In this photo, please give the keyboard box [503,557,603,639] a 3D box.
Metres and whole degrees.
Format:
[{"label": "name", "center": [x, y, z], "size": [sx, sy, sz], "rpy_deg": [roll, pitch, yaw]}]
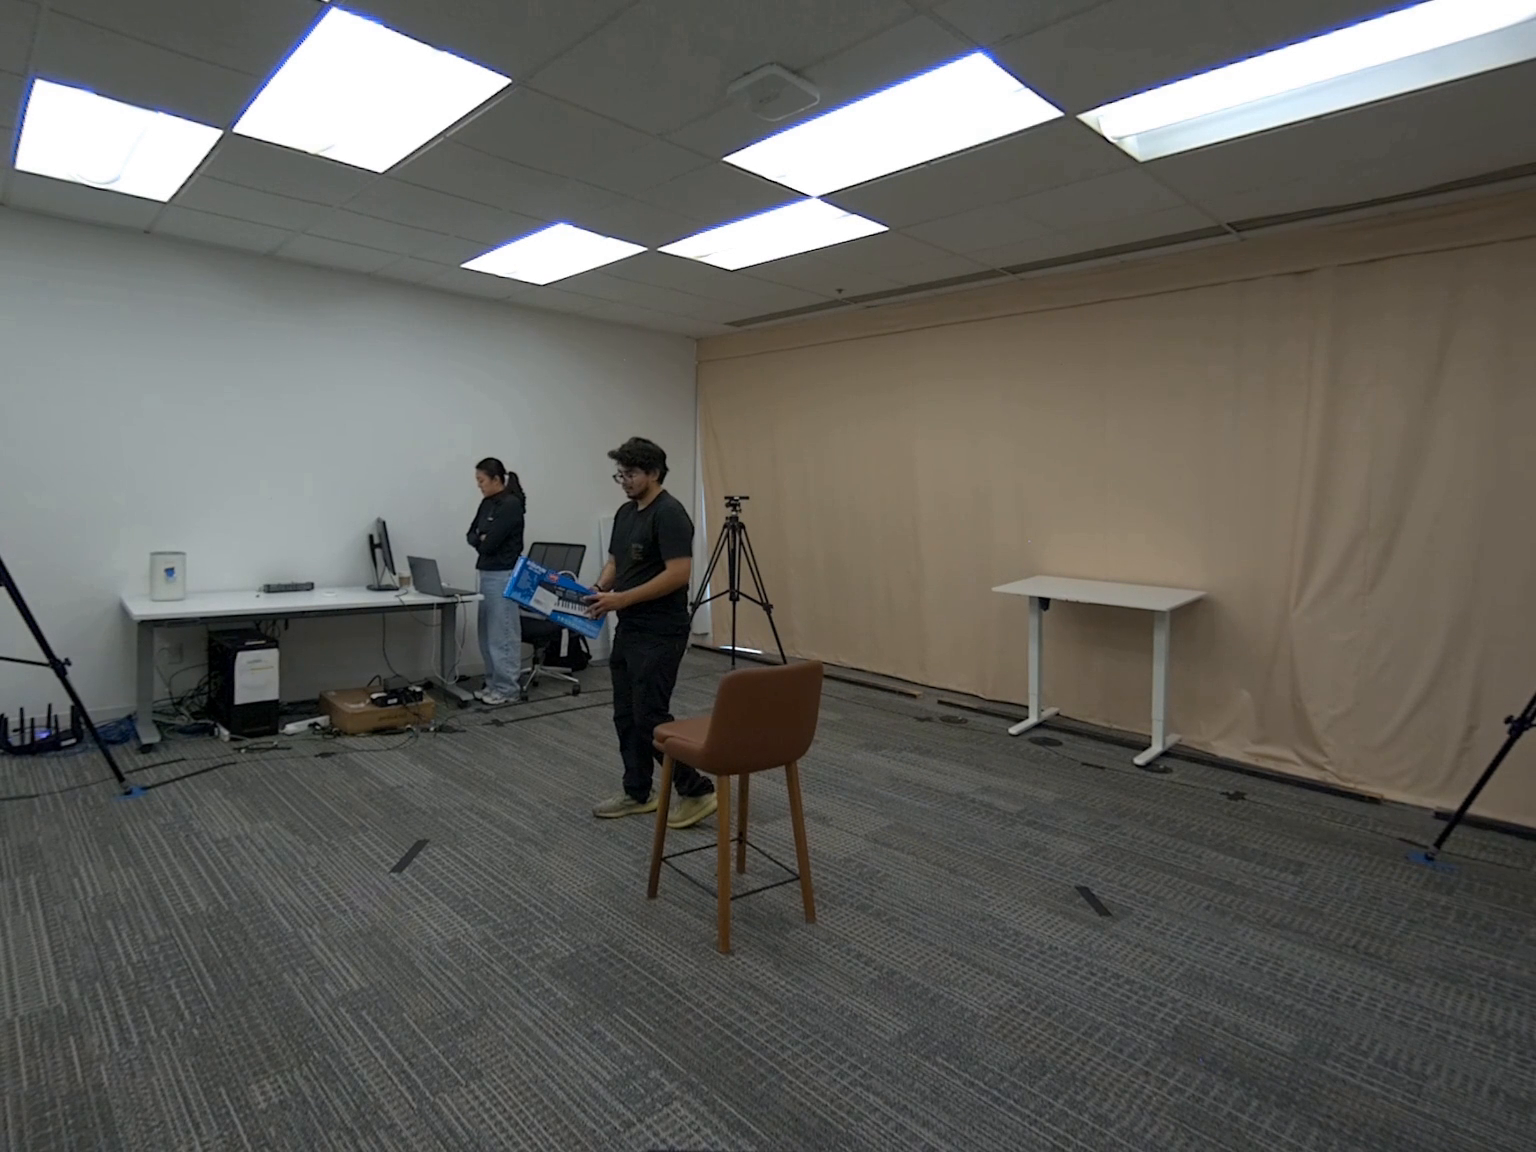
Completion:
[{"label": "keyboard box", "center": [-0.841, 0.096, 3.381], "size": [0.424, 0.177, 0.060], "rpy_deg": [32, -19, -36]}]
